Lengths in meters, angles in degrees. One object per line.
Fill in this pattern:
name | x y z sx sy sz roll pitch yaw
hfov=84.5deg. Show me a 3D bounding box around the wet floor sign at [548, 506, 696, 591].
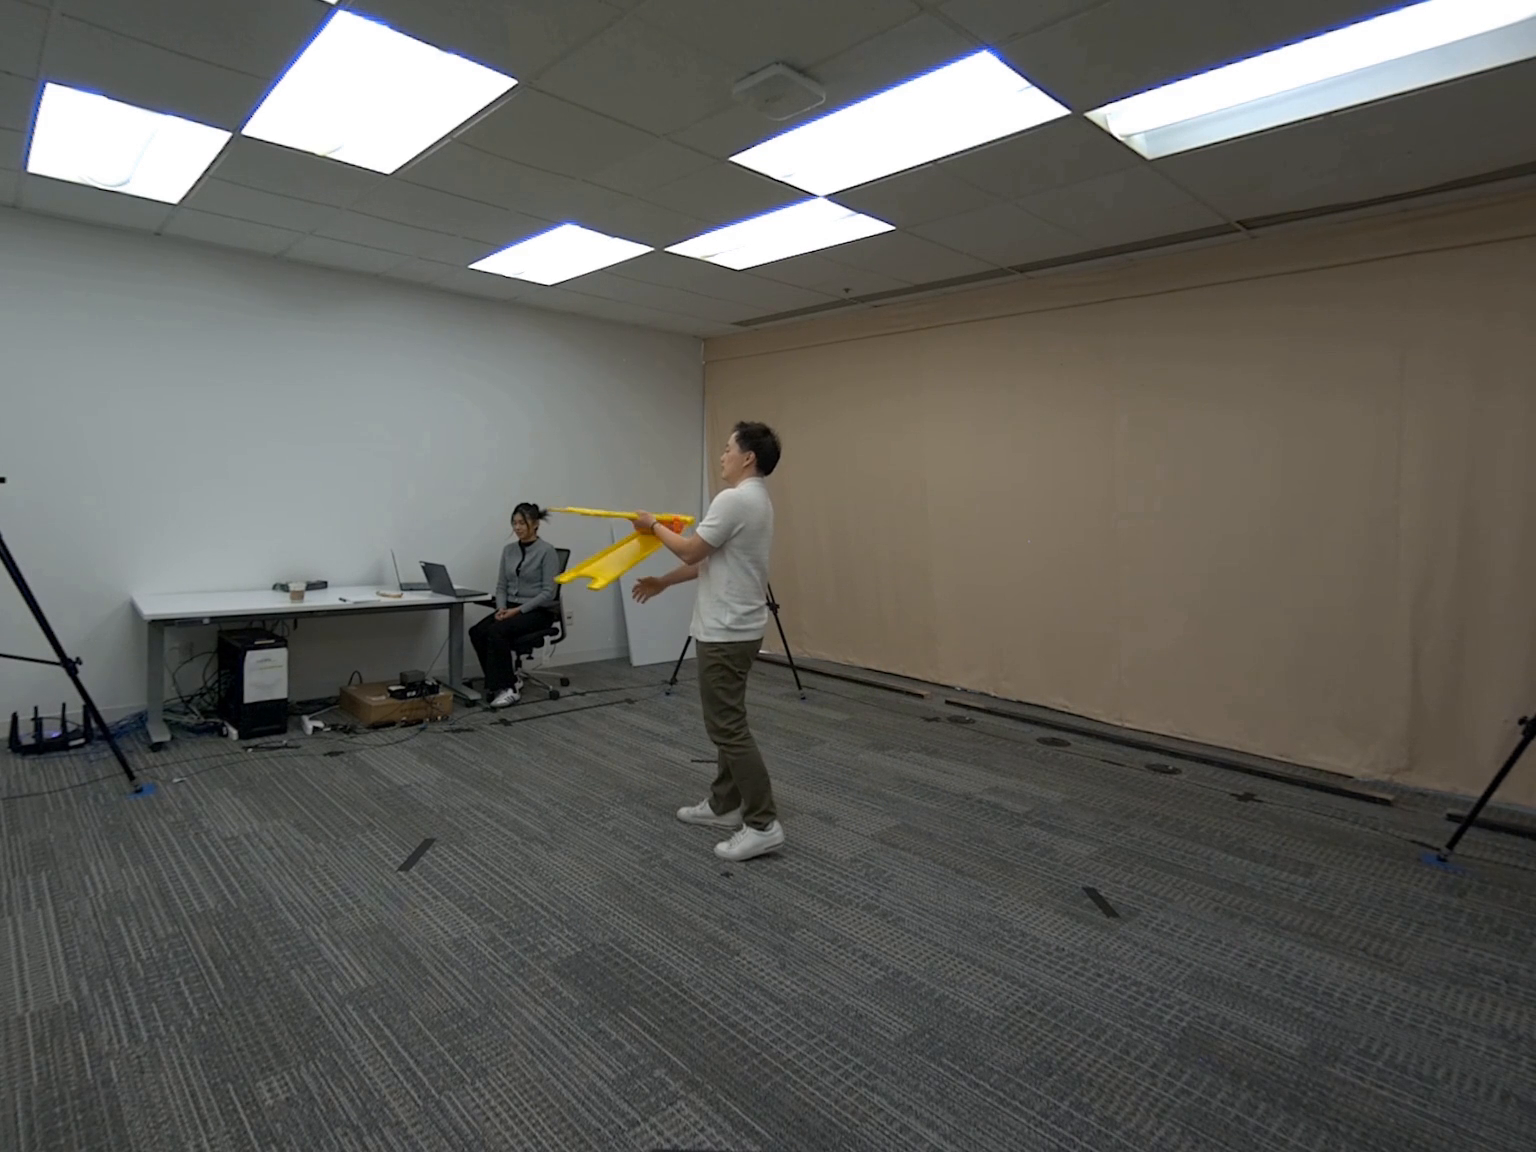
wet floor sign | -0.583 -0.189 3.582 0.289 0.286 0.637 9 20 37
